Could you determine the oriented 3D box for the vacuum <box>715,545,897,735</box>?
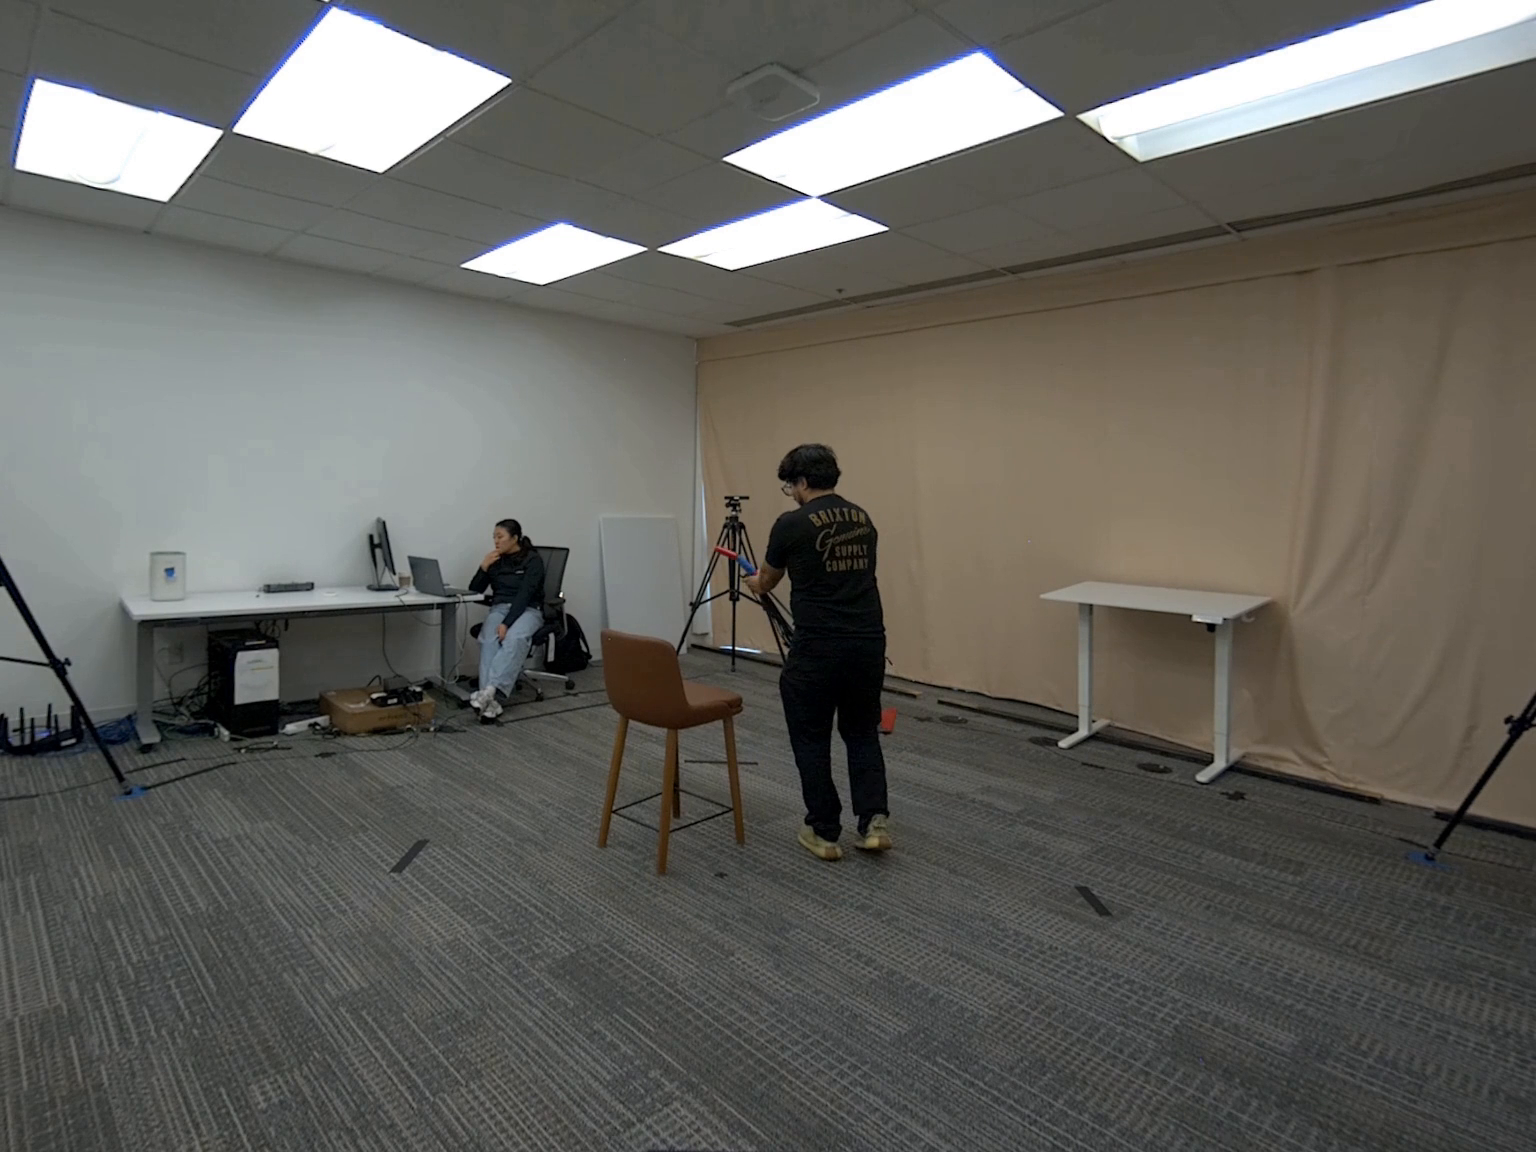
[{"bbox_3d":[0.138,0.270,3.737,0.144,1.051,0.251,-42,-1,29],"label":"vacuum"}]
